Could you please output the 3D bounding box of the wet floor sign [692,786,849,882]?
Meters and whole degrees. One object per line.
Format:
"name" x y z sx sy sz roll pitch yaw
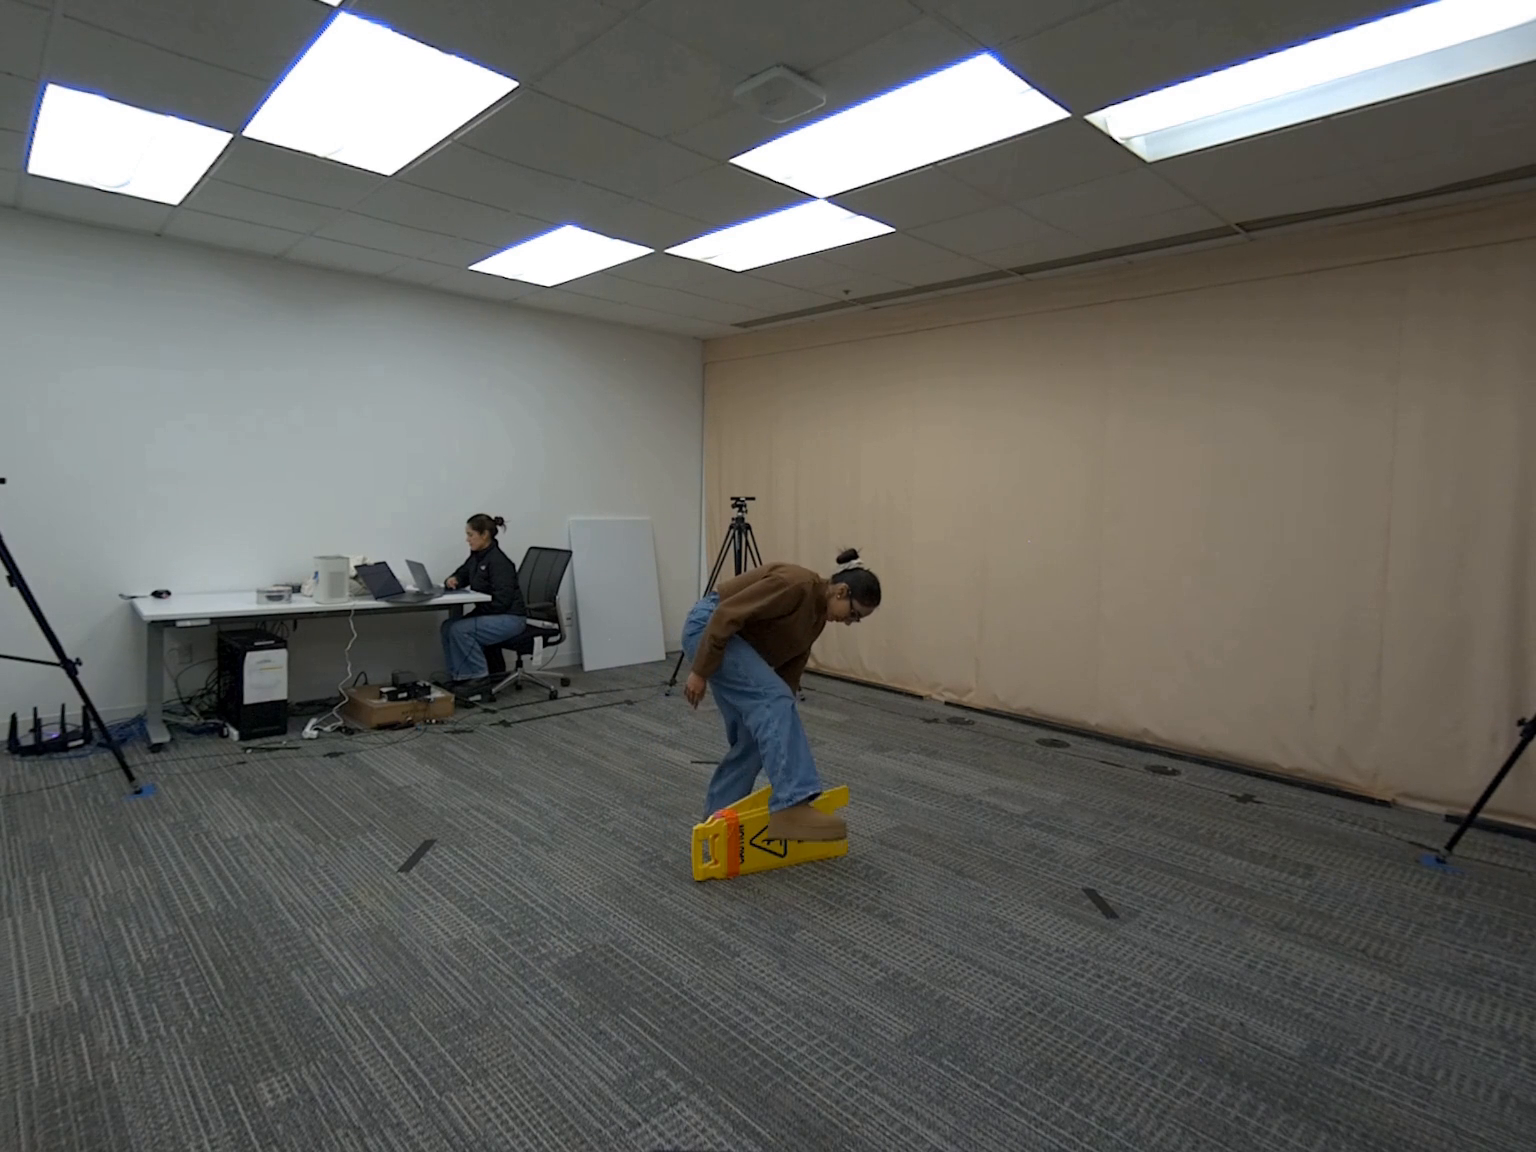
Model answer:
"wet floor sign" -0.020 0.975 3.218 0.632 0.281 0.297 -6 8 -38
